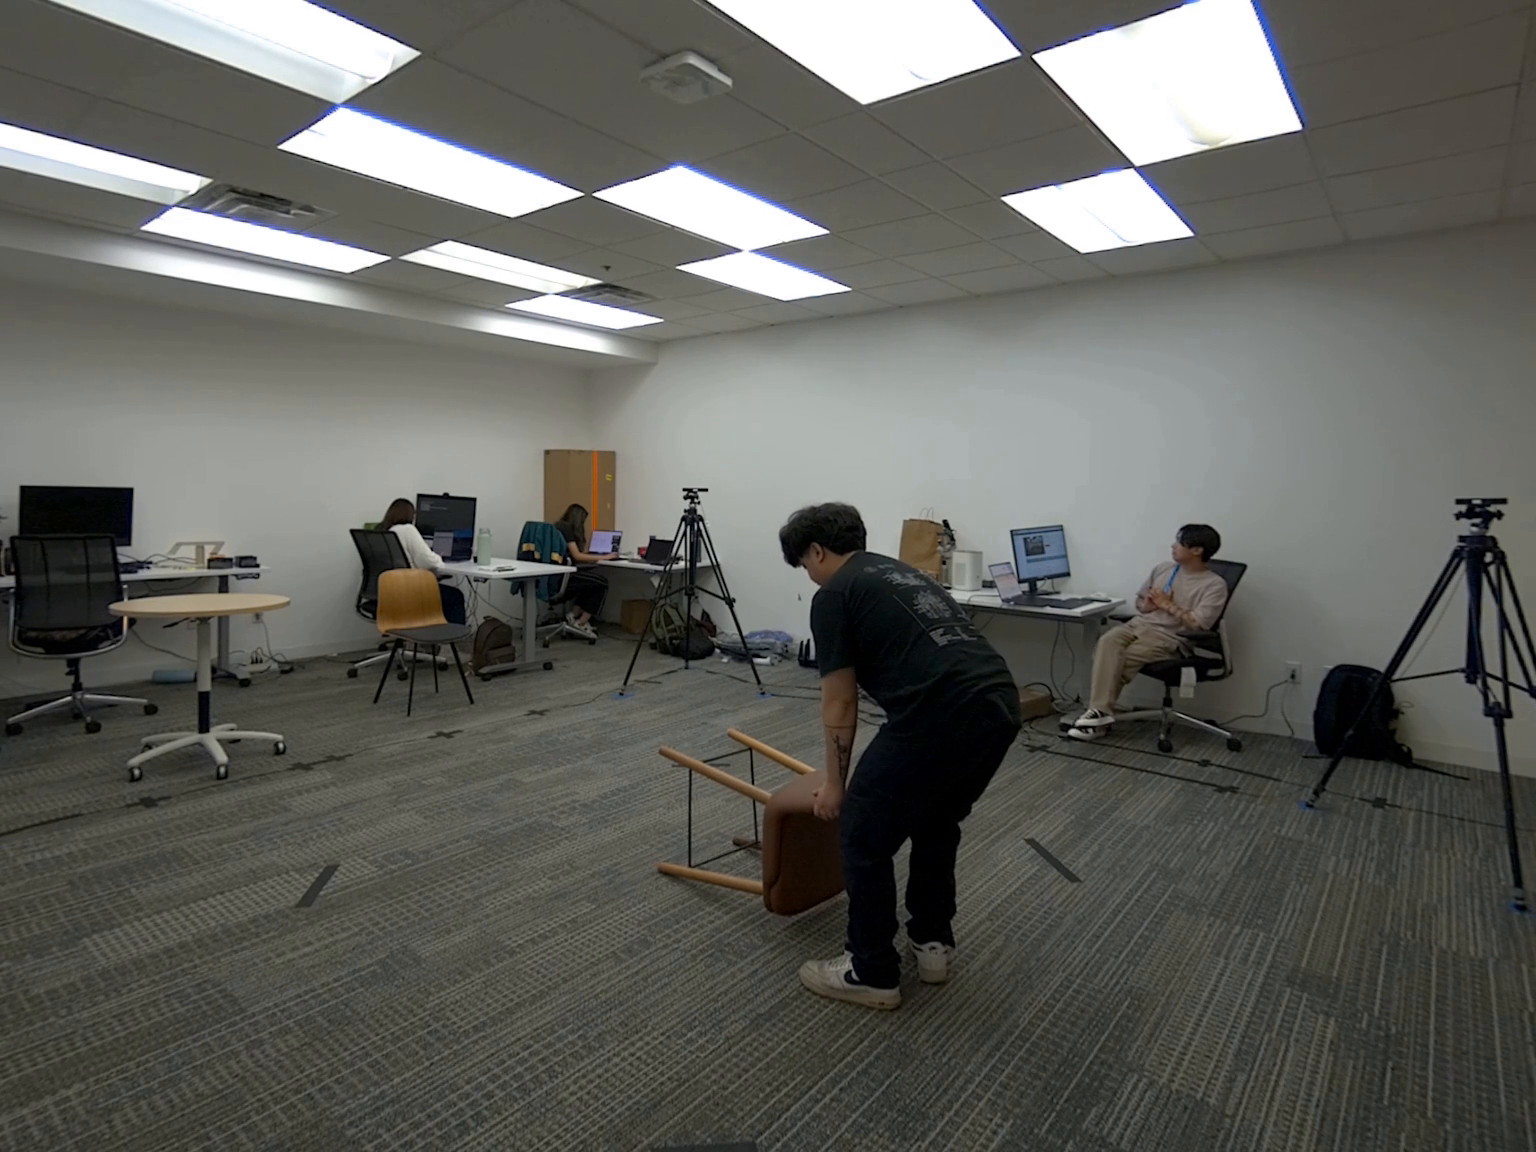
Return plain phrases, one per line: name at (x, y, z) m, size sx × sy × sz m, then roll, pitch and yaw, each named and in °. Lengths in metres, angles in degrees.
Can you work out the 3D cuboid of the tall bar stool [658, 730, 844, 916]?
tall bar stool at (0.037, 0.835, 2.900) m, size 0.917 × 0.467 × 0.443 m, roll -1°, pitch 2°, yaw 44°
